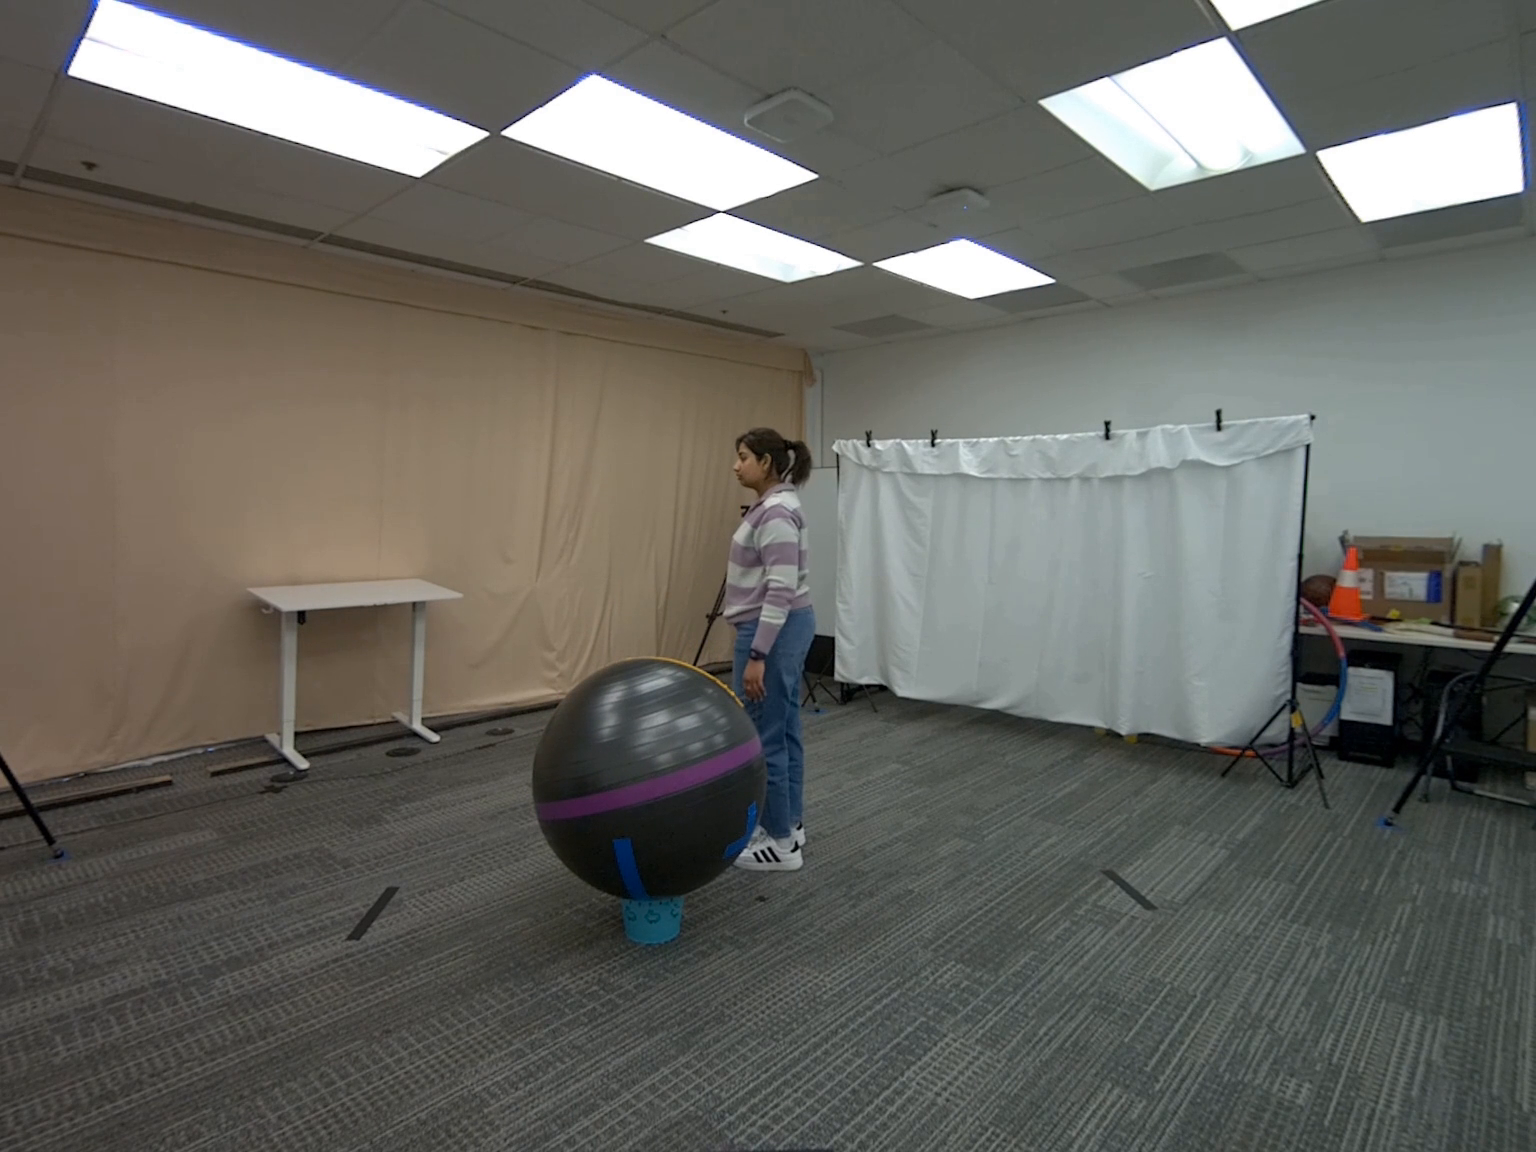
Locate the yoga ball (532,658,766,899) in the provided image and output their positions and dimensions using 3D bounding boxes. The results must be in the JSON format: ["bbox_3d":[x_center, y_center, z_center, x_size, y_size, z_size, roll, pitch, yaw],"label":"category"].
[{"bbox_3d":[-0.401,0.661,2.741,0.757,0.756,0.760,0,4,-2],"label":"yoga ball"}]
